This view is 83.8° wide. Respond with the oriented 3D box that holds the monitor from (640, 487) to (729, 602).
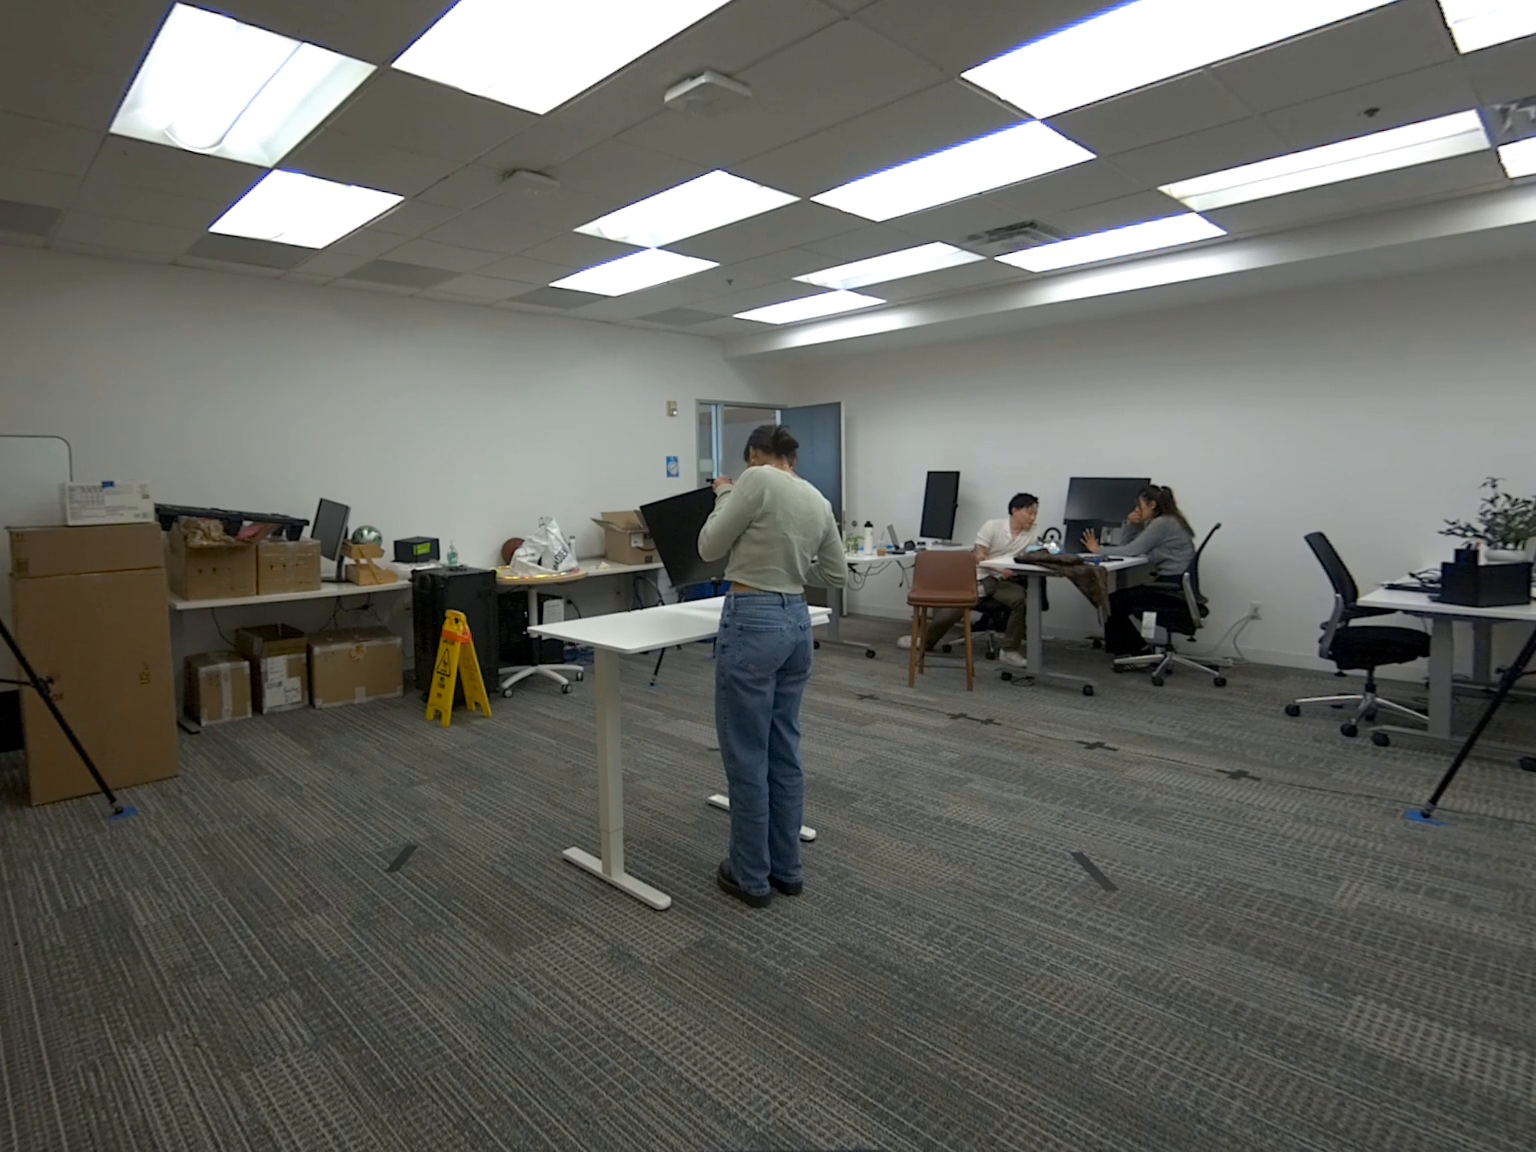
[{"bbox_3d":[-0.191,-0.098,3.274,0.551,0.510,0.187,-12,29,45],"label":"monitor"}]
